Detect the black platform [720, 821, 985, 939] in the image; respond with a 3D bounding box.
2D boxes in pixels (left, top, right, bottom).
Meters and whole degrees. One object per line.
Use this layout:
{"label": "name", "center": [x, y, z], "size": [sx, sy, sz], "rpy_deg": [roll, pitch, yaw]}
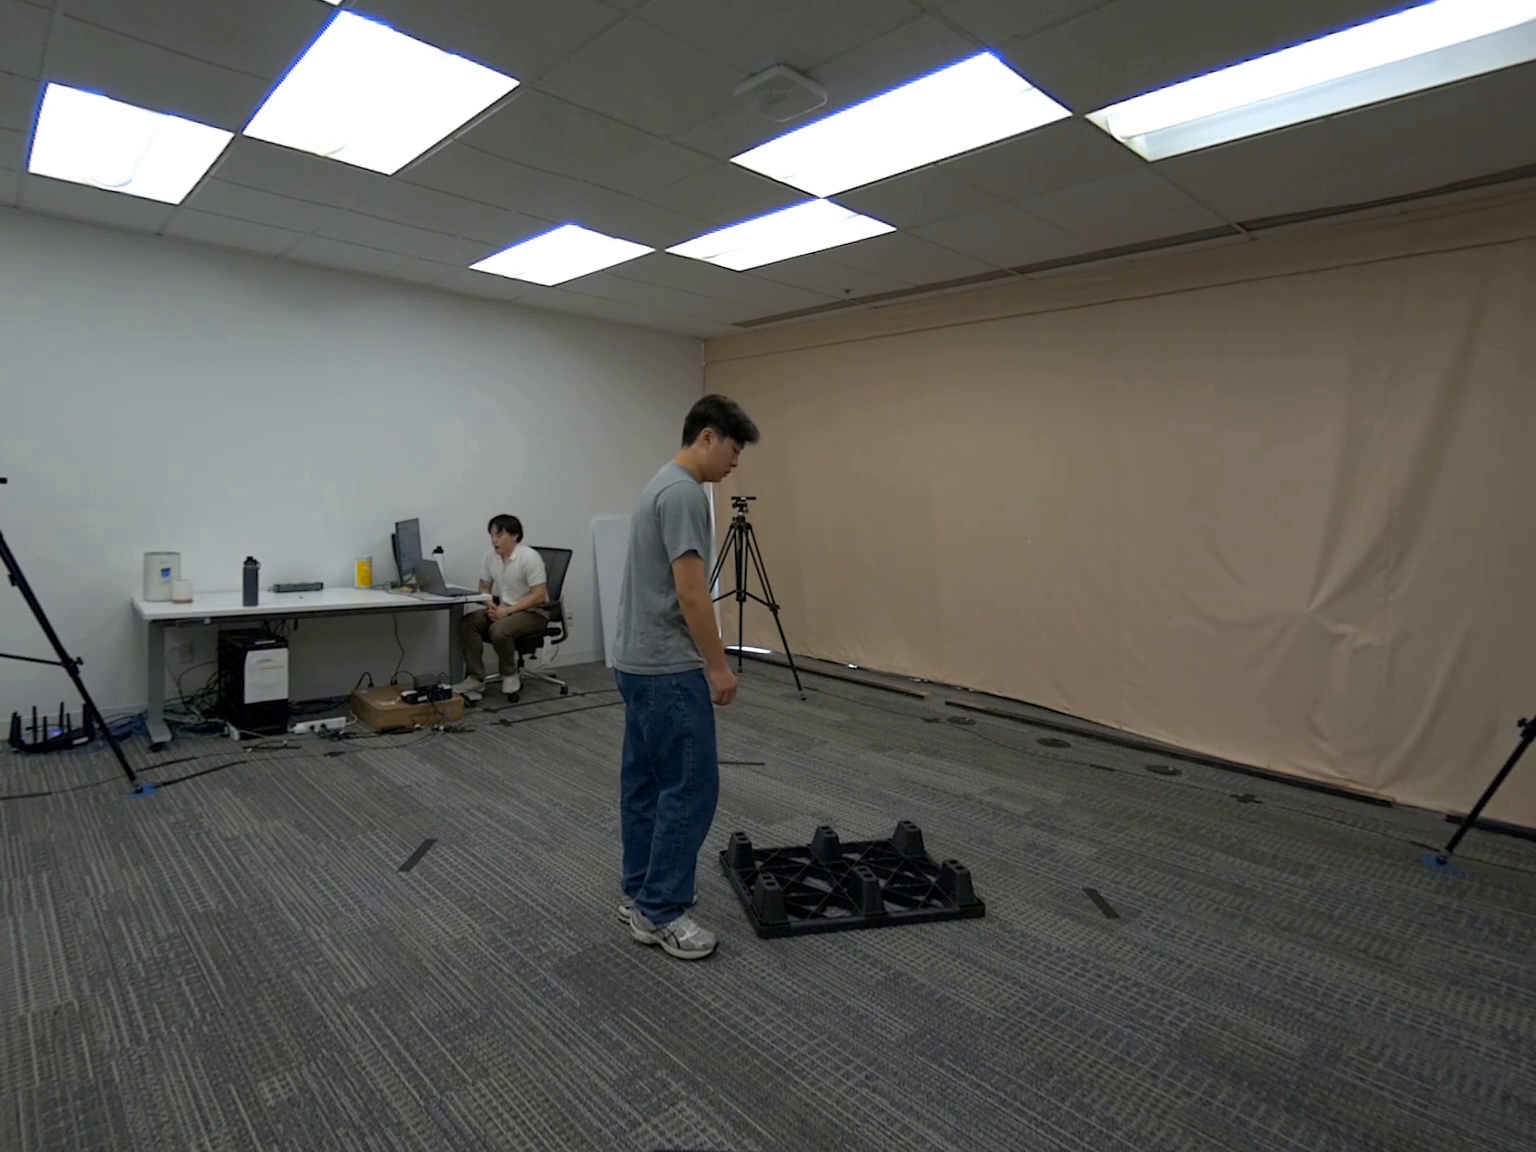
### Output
{"label": "black platform", "center": [0.269, 1.053, 3.036], "size": [0.796, 0.143, 0.614], "rpy_deg": [0, 6, -15]}
